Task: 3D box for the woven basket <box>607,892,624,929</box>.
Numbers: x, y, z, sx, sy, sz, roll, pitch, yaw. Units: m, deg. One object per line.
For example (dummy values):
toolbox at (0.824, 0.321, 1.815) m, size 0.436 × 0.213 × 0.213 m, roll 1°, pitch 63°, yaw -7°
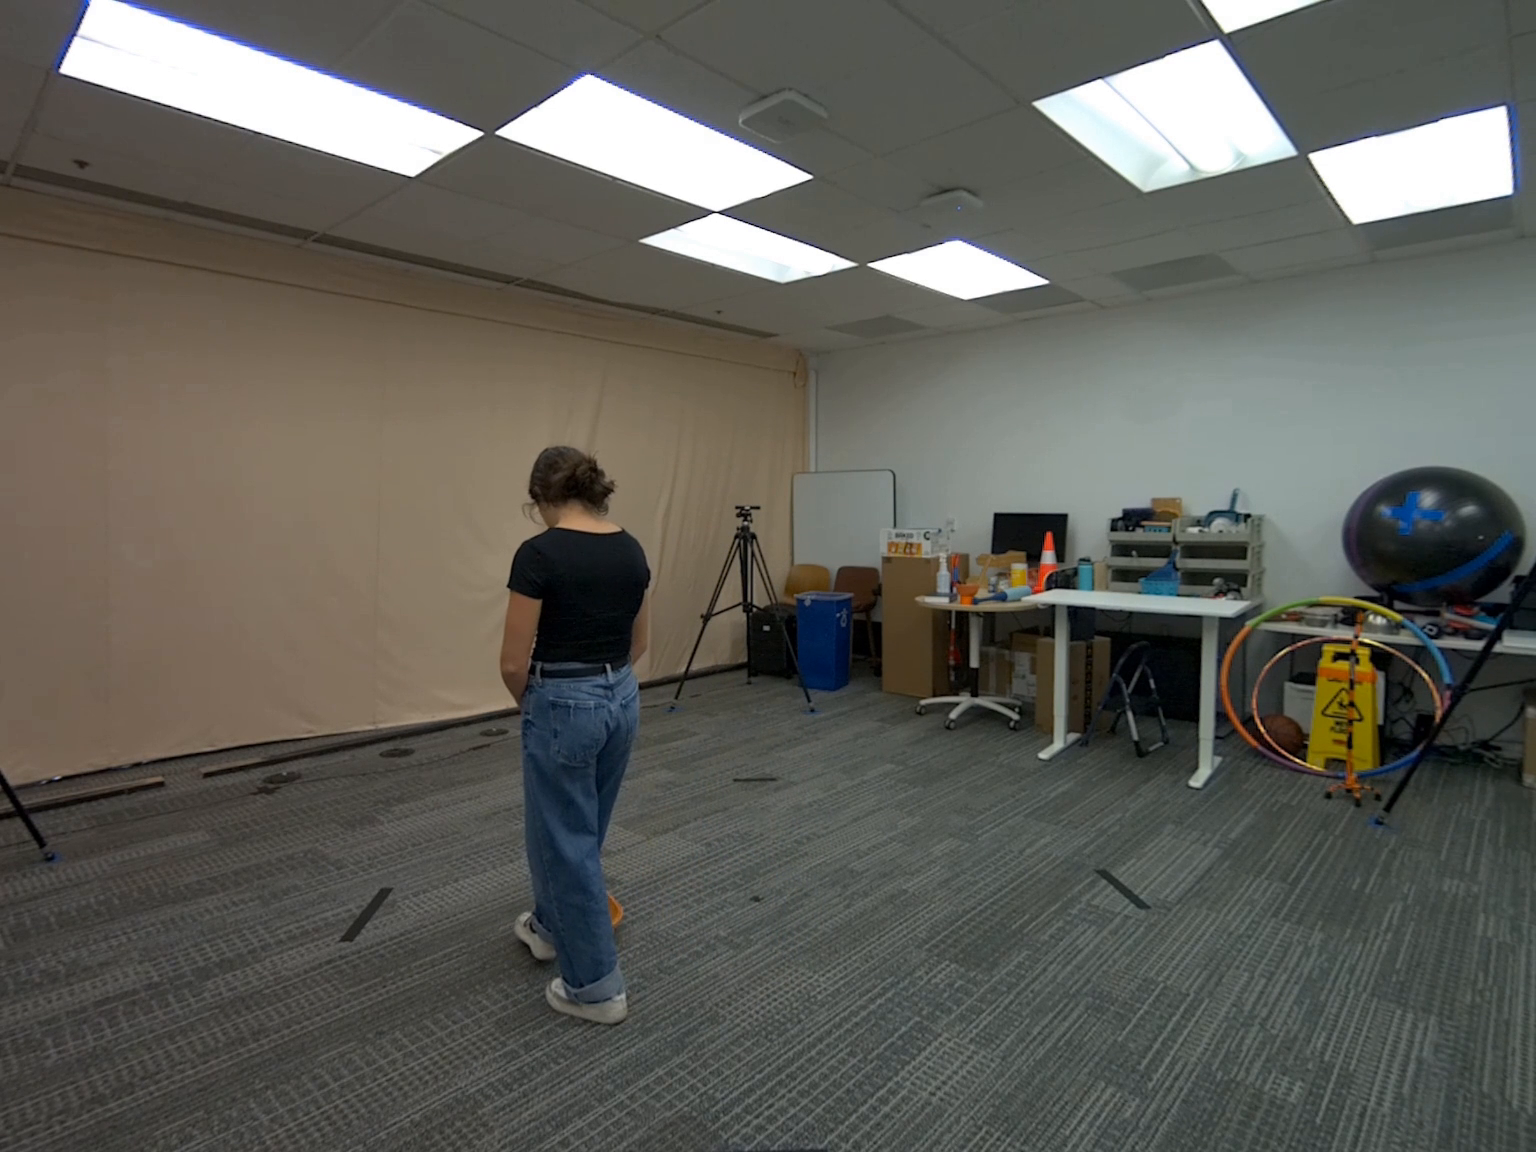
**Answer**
woven basket at (-0.616, 1.125, 2.781) m, size 0.246 × 0.073 × 0.360 m, roll -3°, pitch 5°, yaw -29°
